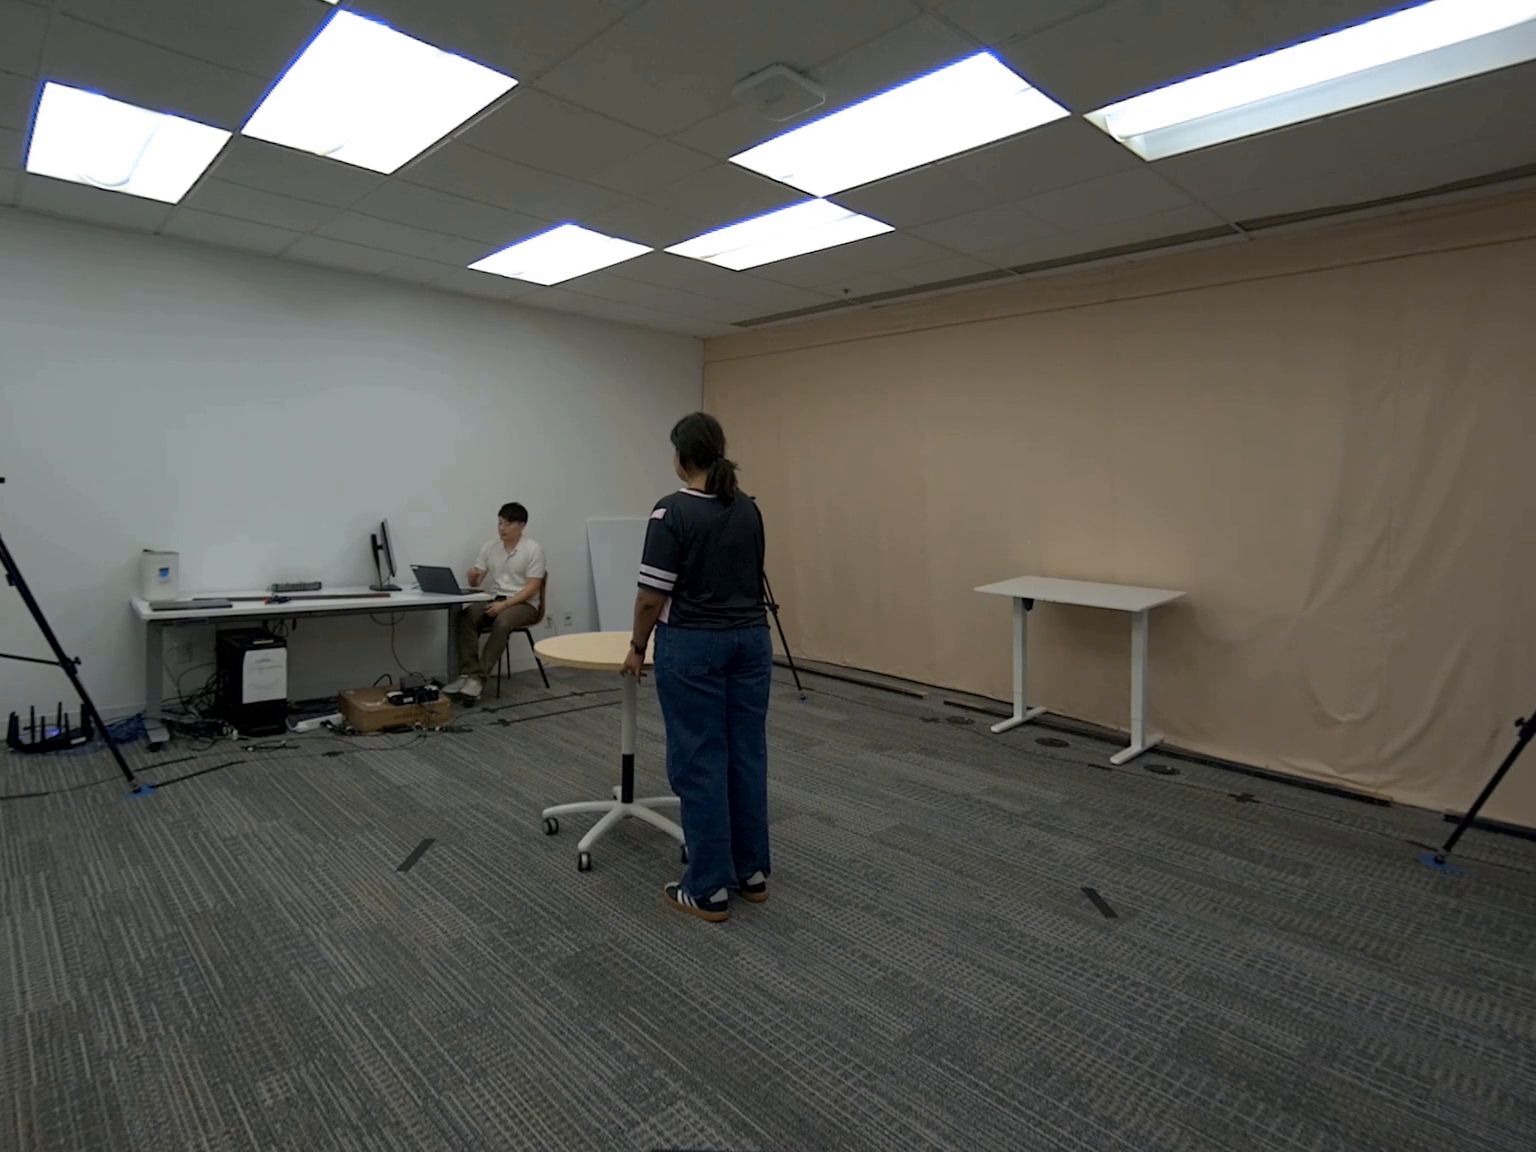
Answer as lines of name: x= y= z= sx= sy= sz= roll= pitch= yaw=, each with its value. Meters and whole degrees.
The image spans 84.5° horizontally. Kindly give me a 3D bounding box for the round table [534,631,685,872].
round table: x=-0.565 y=0.671 z=3.412 sx=0.784 sy=0.785 sz=0.787 roll=1 pitch=4 yaw=-1
